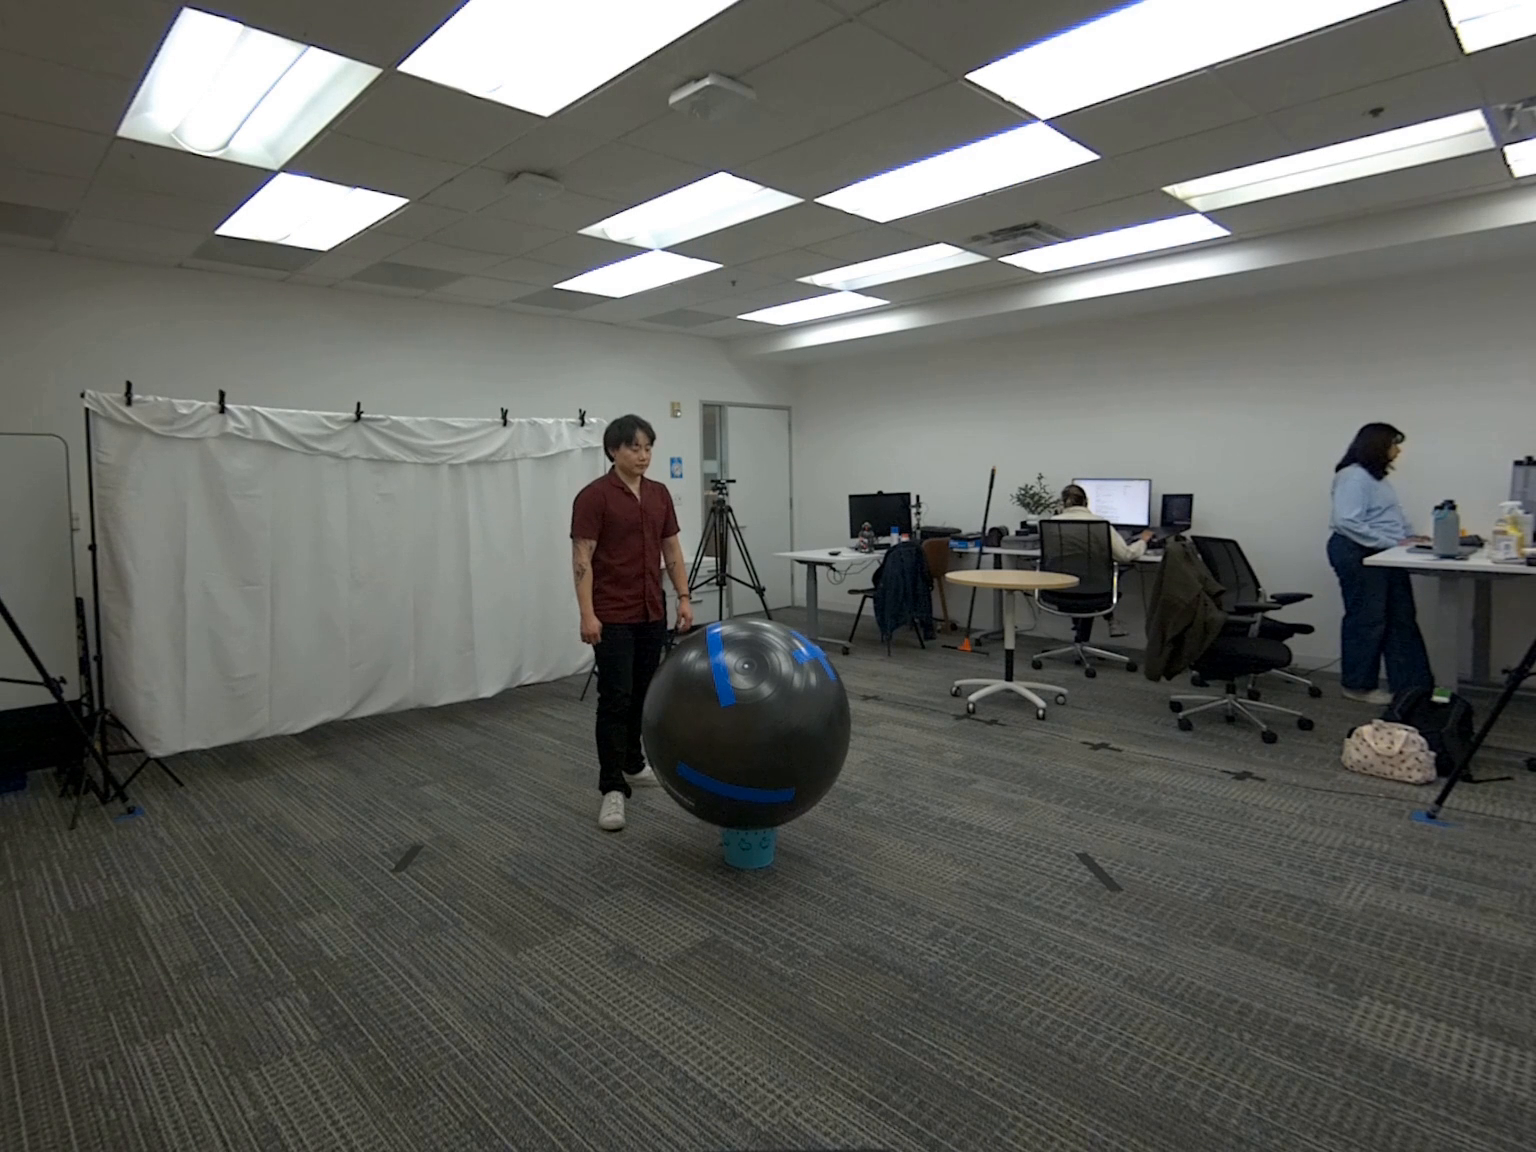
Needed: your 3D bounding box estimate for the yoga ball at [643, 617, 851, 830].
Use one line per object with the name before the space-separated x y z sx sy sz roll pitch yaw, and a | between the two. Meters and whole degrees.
yoga ball | -0.084 0.530 3.127 0.757 0.755 0.762 -1 5 -2
